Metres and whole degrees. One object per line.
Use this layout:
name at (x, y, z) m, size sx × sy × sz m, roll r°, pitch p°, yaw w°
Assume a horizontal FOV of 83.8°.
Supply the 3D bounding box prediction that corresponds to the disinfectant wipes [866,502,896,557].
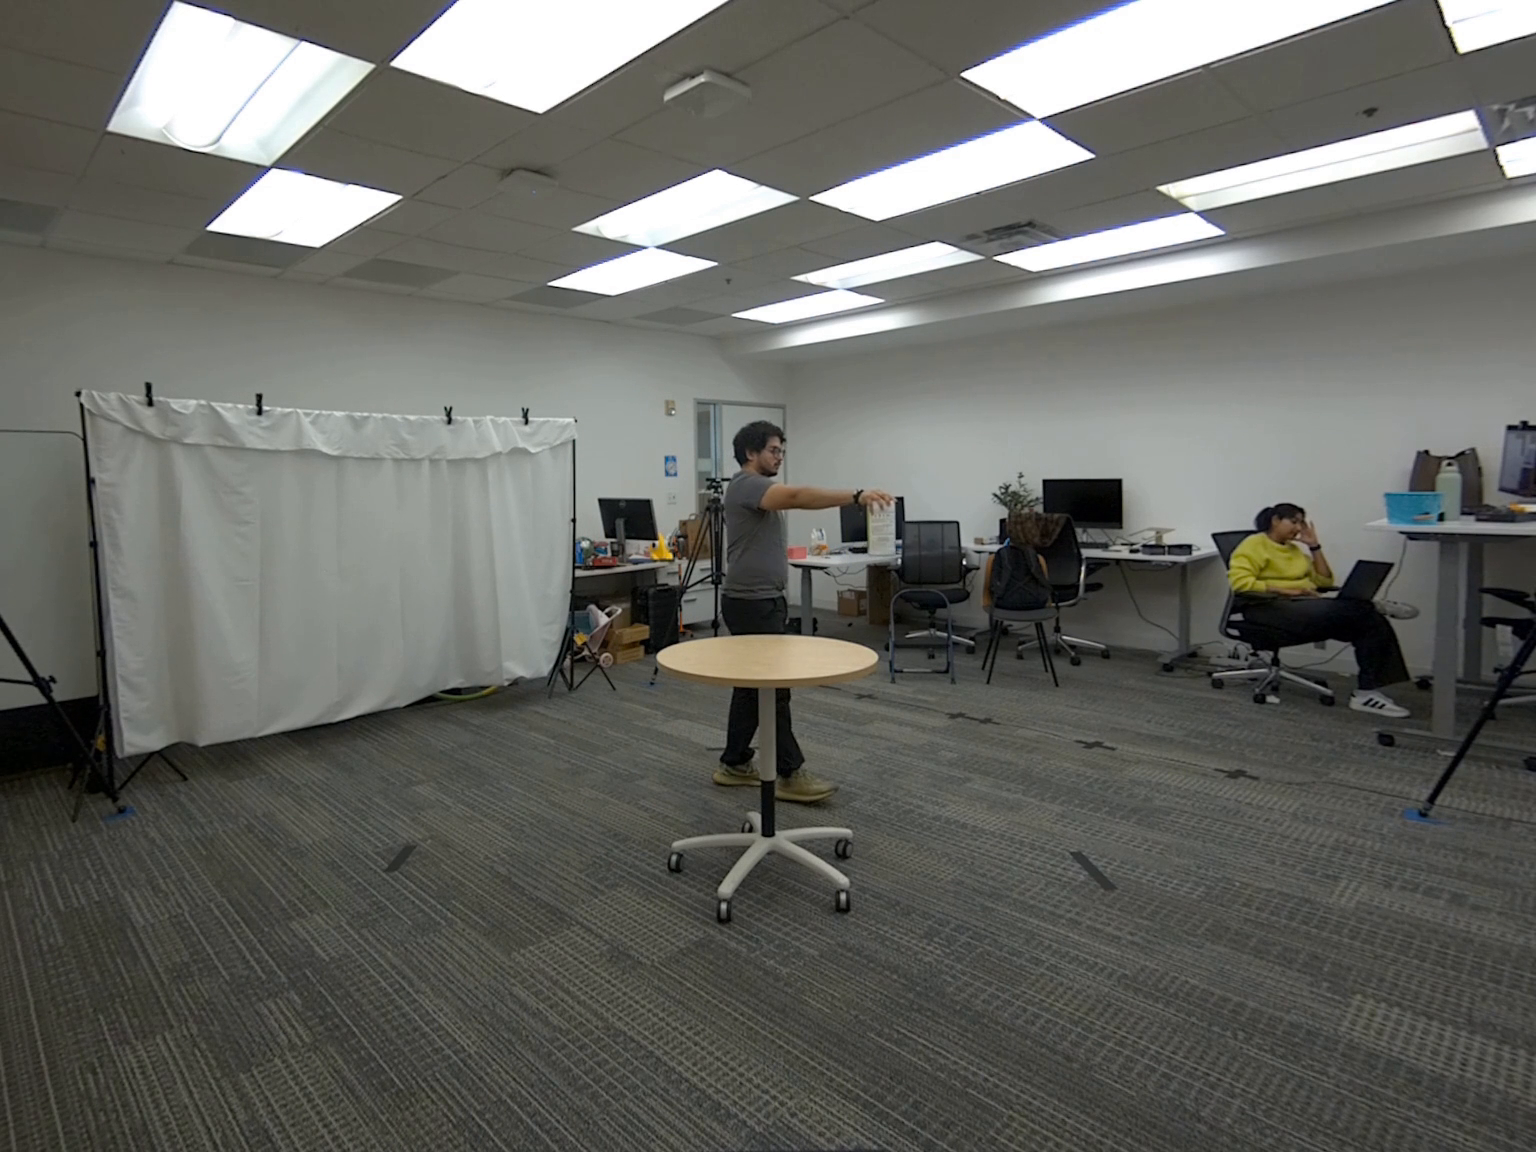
disinfectant wipes at (0.455, -0.185, 3.360) m, size 0.118 × 0.217 × 0.118 m, roll -2°, pitch 3°, yaw -2°
